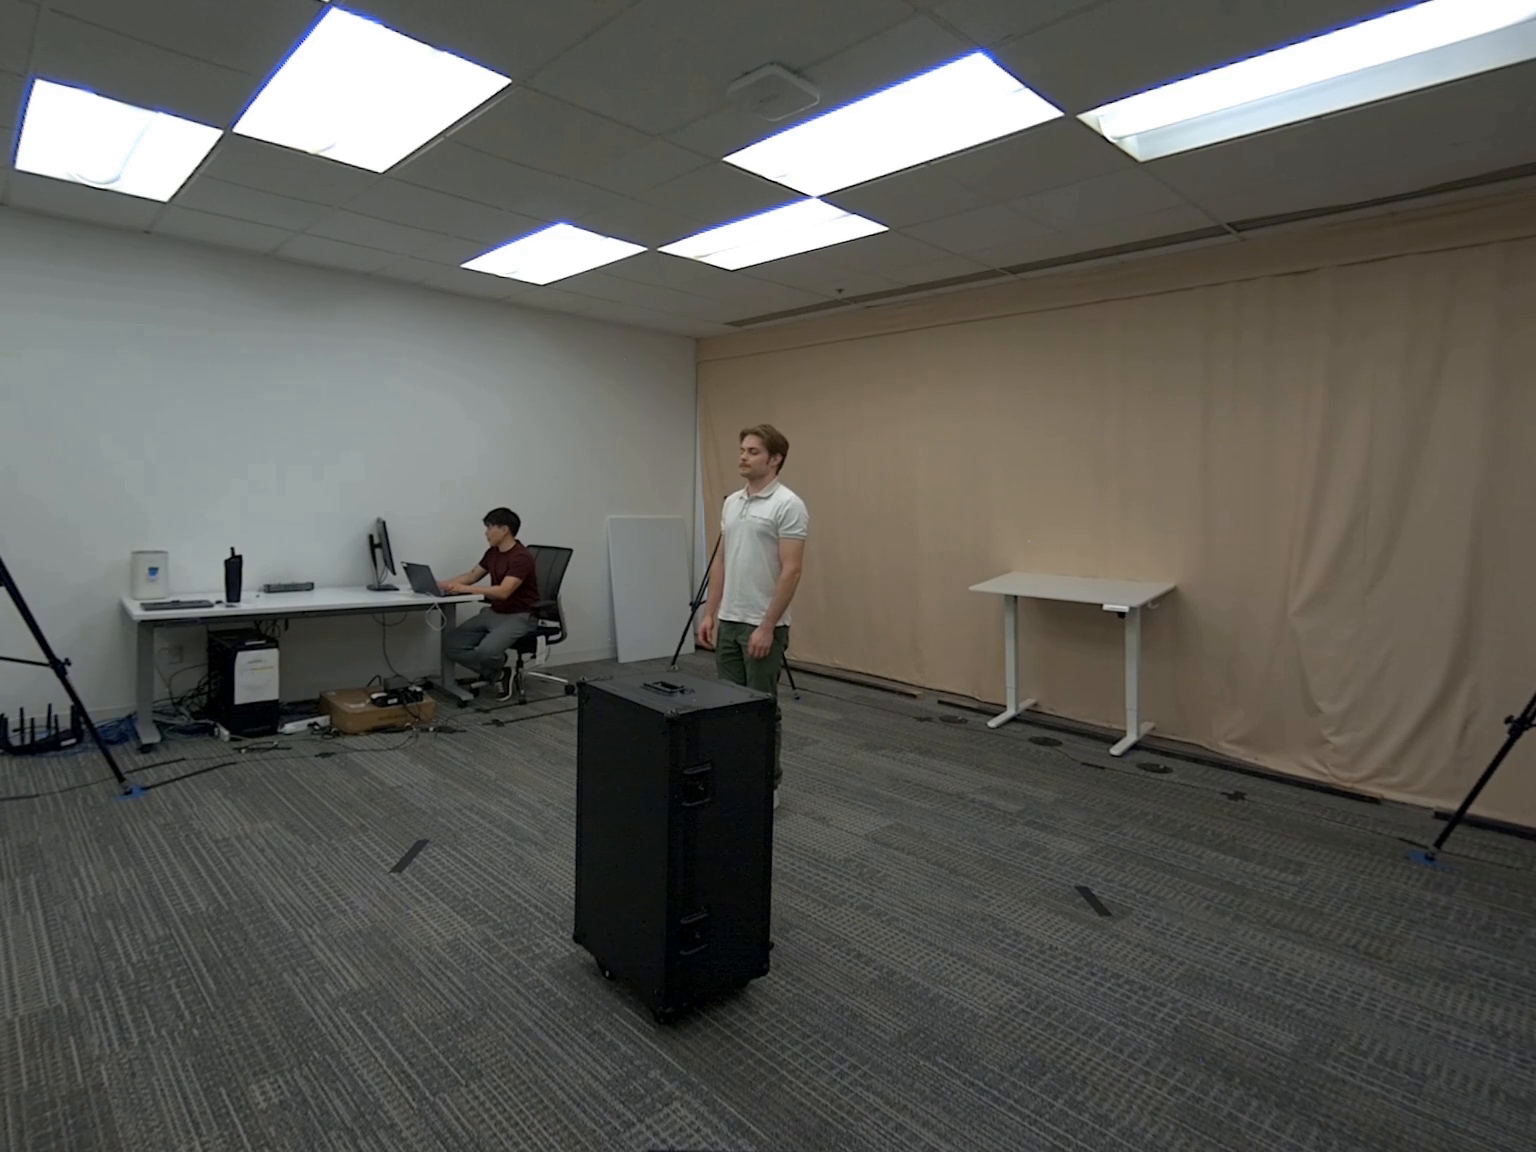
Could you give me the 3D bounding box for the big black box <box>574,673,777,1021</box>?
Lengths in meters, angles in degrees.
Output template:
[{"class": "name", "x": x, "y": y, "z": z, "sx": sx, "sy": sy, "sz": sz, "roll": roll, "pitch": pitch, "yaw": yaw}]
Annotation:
[{"class": "big black box", "x": -0.286, "y": 0.748, "z": 2.397, "sx": 0.376, "sy": 0.866, "sz": 0.537, "roll": -1, "pitch": 4, "yaw": -40}]
